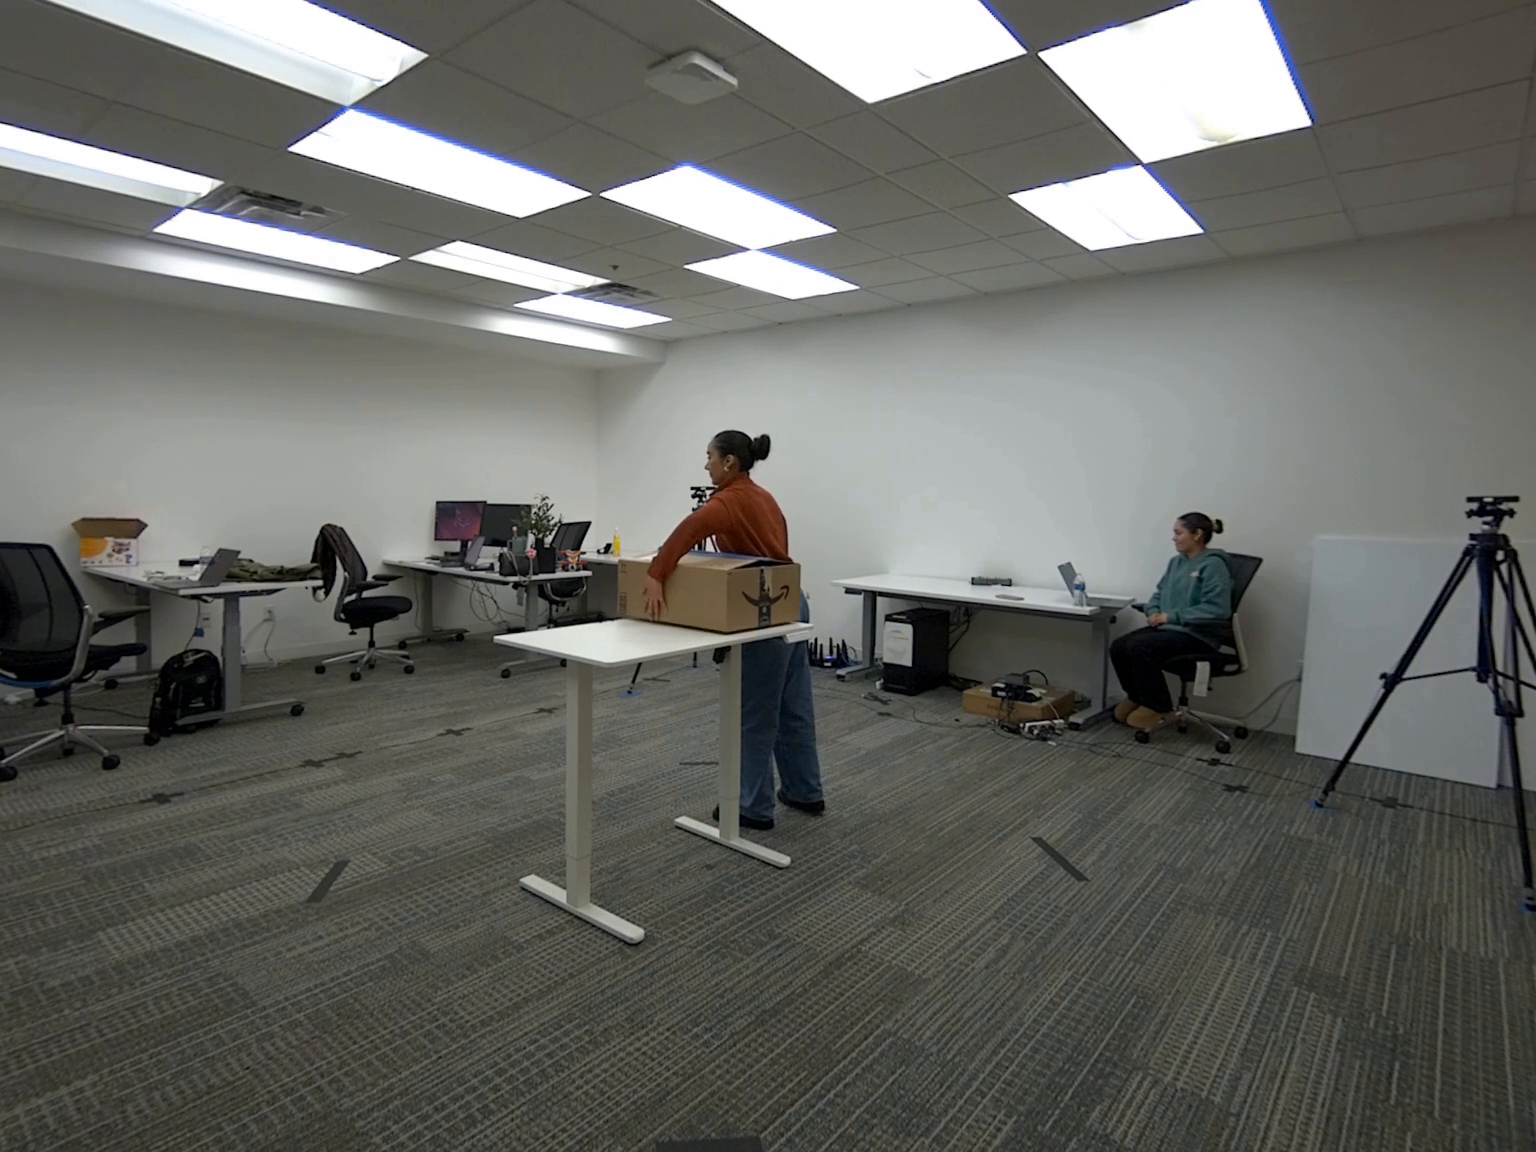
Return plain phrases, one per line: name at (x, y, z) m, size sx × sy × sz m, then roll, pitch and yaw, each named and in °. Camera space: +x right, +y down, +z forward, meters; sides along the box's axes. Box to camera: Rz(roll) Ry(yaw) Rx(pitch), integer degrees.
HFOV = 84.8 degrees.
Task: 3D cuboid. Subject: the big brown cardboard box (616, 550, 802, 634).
big brown cardboard box at (-0.242, 0.044, 3.245) m, size 0.609 × 0.232 × 0.405 m, roll 7°, pitch 7°, yaw 40°
